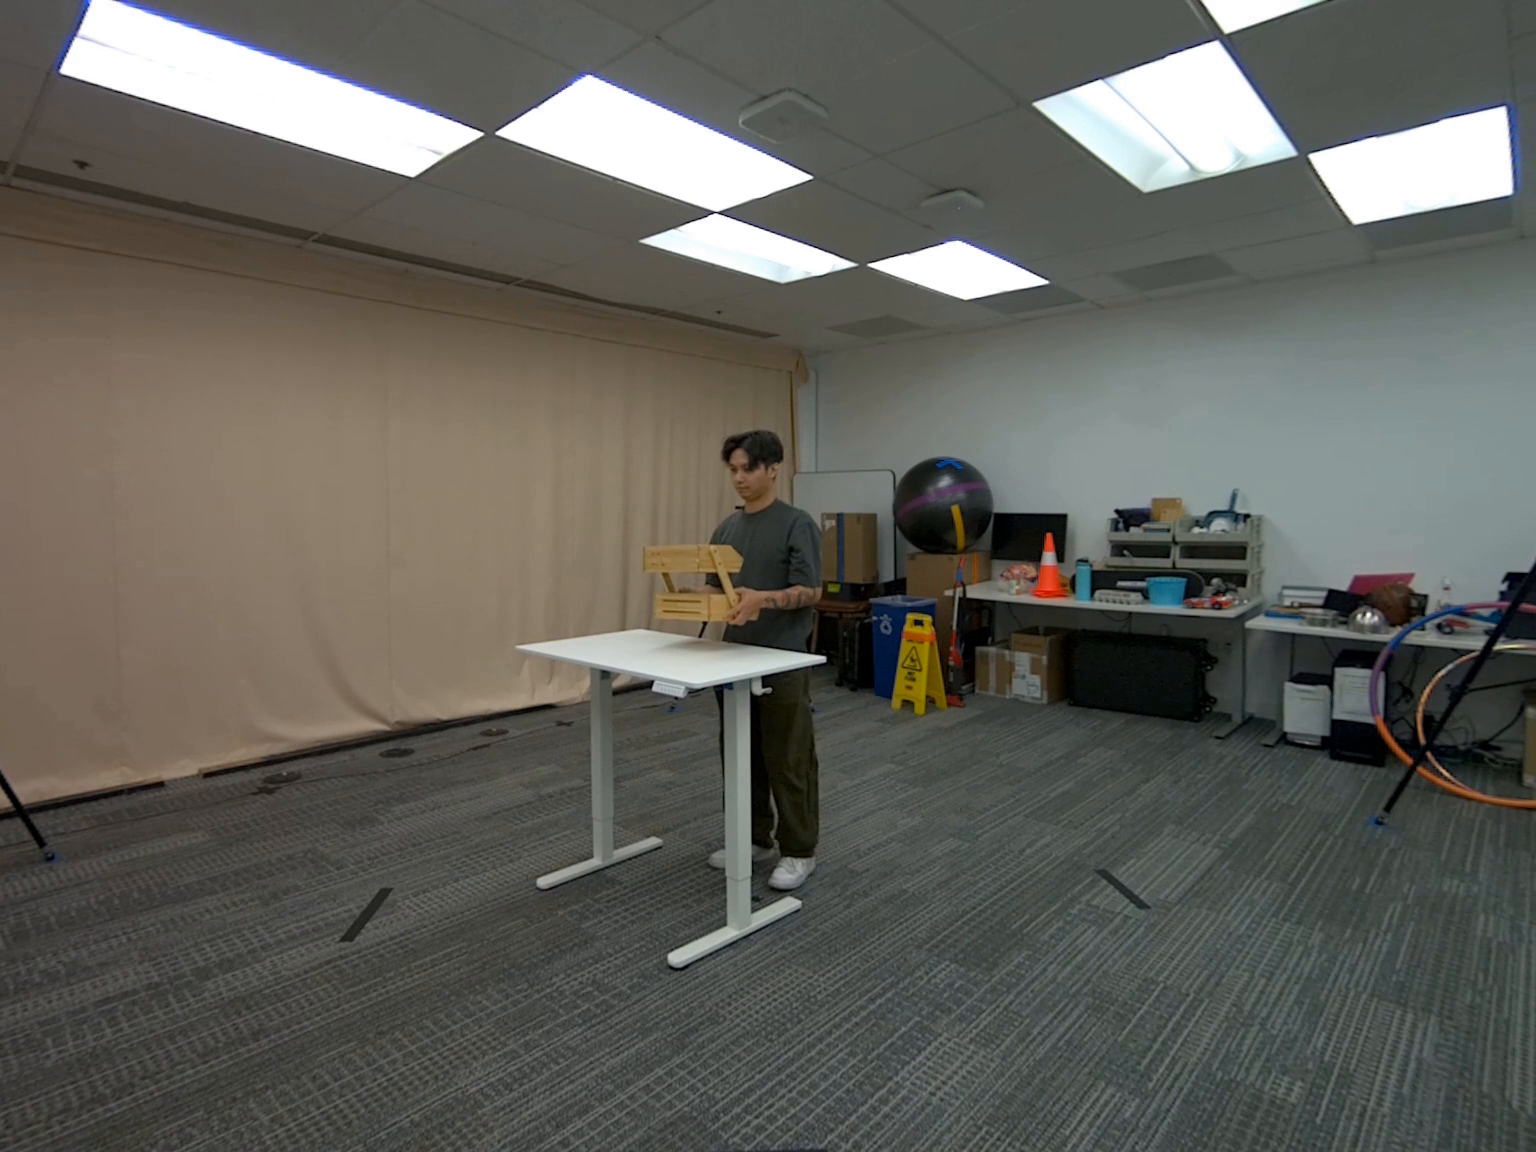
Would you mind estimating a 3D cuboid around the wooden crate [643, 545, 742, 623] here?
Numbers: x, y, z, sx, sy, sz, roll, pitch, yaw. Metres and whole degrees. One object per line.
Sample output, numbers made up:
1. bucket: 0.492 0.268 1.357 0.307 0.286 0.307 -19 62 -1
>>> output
1. wooden crate: -0.238 0.025 3.035 0.335 0.273 0.292 -1 -2 44
